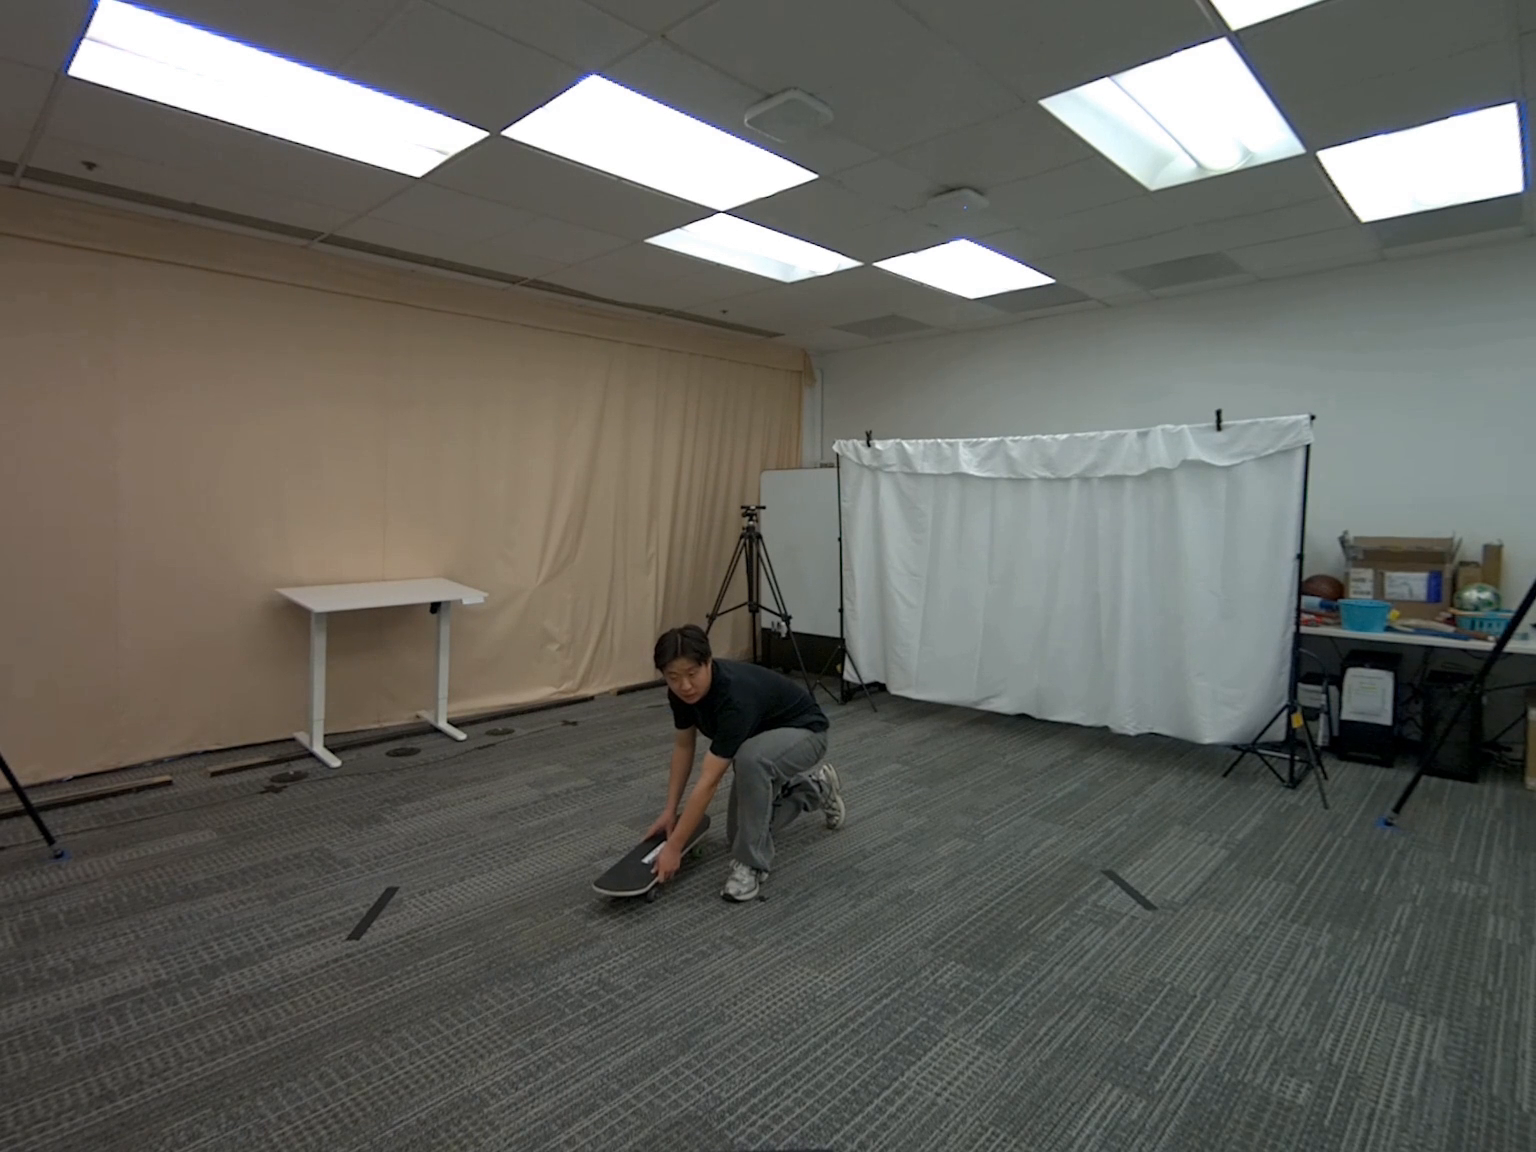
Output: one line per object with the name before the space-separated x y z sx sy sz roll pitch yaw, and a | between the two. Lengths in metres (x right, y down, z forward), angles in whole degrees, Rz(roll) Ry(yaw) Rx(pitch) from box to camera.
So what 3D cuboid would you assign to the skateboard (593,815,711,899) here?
skateboard | -0.417 1.071 3.179 0.197 0.110 0.771 1 5 19
